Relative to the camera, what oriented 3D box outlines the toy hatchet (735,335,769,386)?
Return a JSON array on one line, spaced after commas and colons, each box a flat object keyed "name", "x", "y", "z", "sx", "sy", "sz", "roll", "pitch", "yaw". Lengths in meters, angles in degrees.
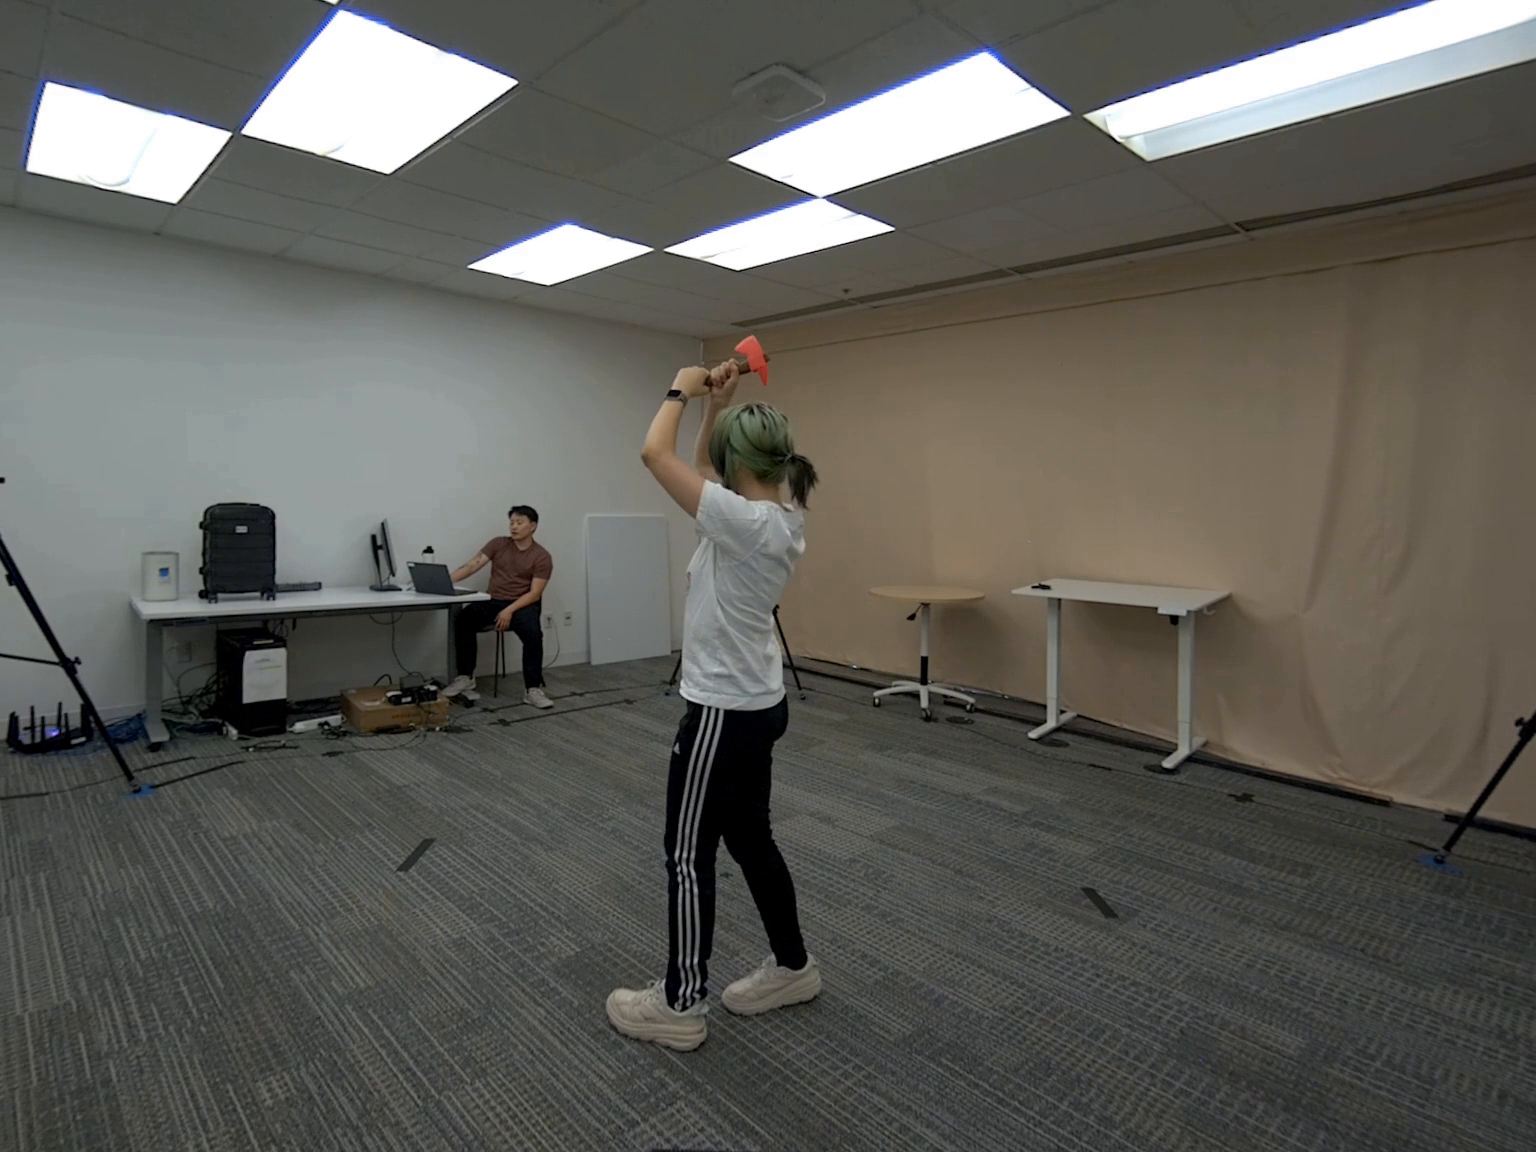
[{"name": "toy hatchet", "x": -0.135, "y": -0.565, "z": 2.187, "sx": 0.274, "sy": 0.130, "sz": 0.029, "roll": 4, "pitch": 8, "yaw": 20}]
